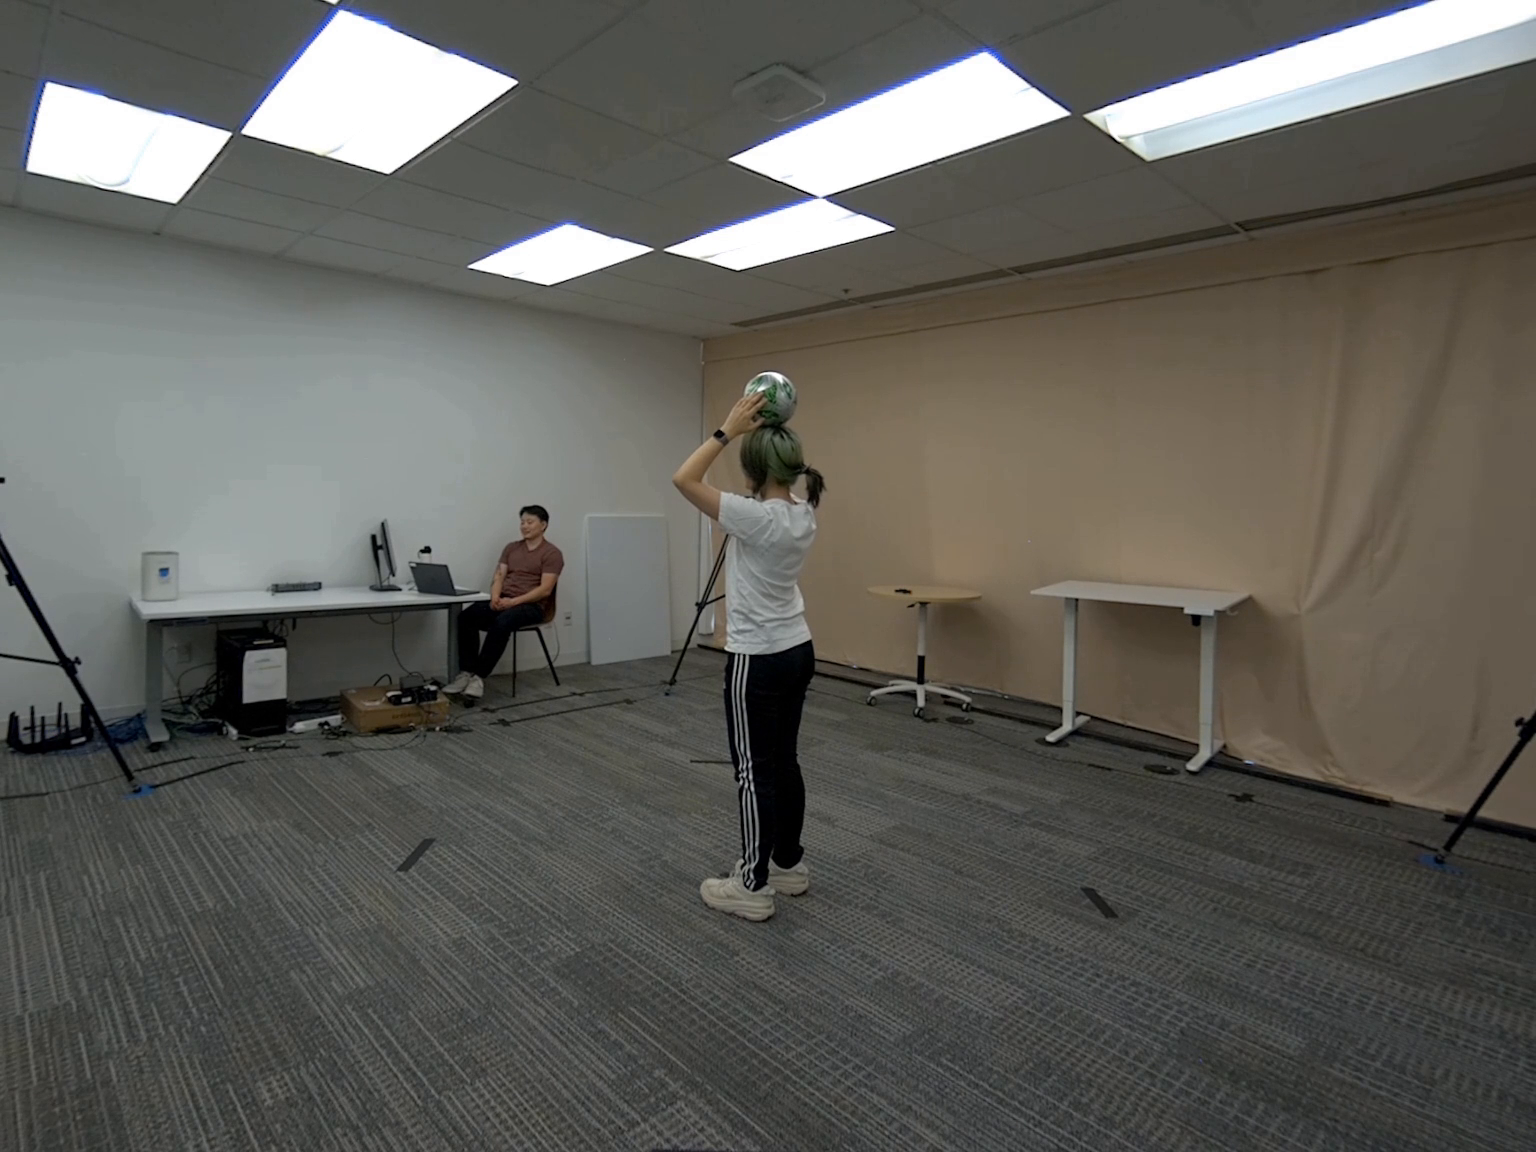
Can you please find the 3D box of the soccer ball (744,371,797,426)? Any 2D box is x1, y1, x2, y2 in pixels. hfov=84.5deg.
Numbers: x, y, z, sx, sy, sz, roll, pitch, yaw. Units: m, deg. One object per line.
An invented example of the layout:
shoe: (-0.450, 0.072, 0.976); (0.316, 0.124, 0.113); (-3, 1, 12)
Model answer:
soccer ball: (0.003, -0.593, 2.843); (0.187, 0.187, 0.188); (1, 4, -1)
